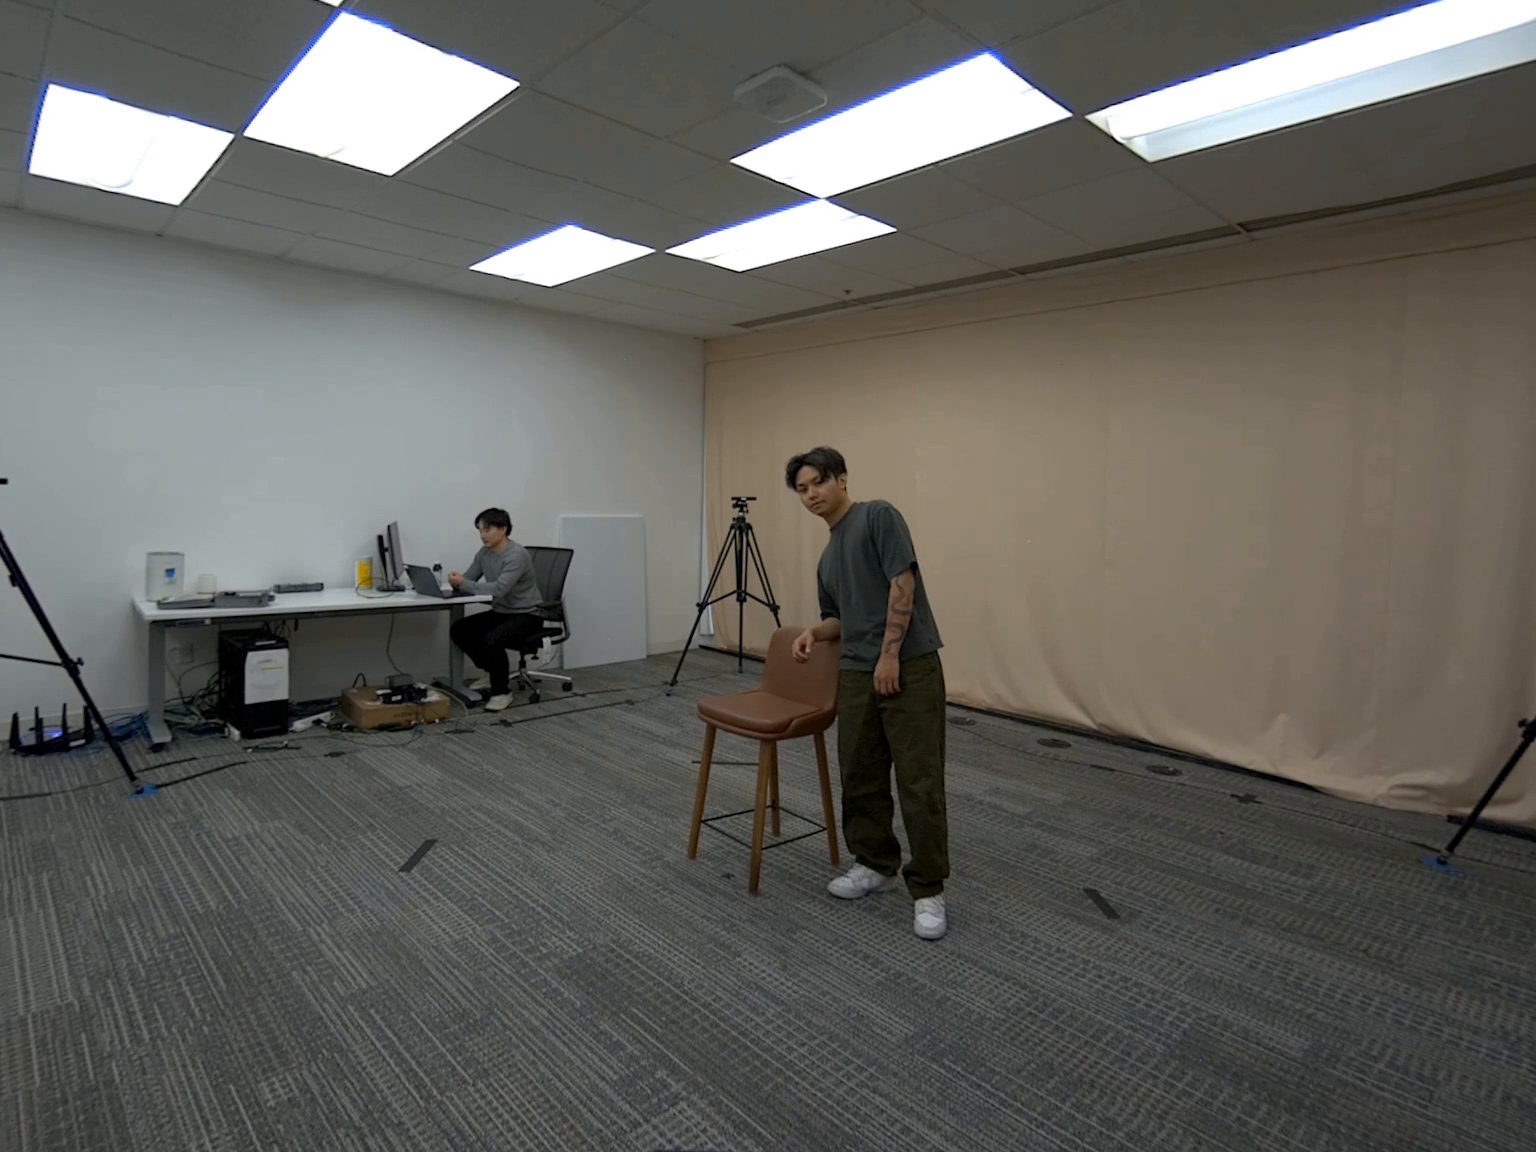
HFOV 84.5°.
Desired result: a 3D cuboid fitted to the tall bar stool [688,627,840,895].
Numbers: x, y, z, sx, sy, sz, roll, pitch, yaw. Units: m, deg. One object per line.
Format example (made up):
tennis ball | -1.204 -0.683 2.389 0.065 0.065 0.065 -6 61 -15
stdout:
tall bar stool | -0.004 0.662 3.227 0.456 0.889 0.468 2 2 -39
